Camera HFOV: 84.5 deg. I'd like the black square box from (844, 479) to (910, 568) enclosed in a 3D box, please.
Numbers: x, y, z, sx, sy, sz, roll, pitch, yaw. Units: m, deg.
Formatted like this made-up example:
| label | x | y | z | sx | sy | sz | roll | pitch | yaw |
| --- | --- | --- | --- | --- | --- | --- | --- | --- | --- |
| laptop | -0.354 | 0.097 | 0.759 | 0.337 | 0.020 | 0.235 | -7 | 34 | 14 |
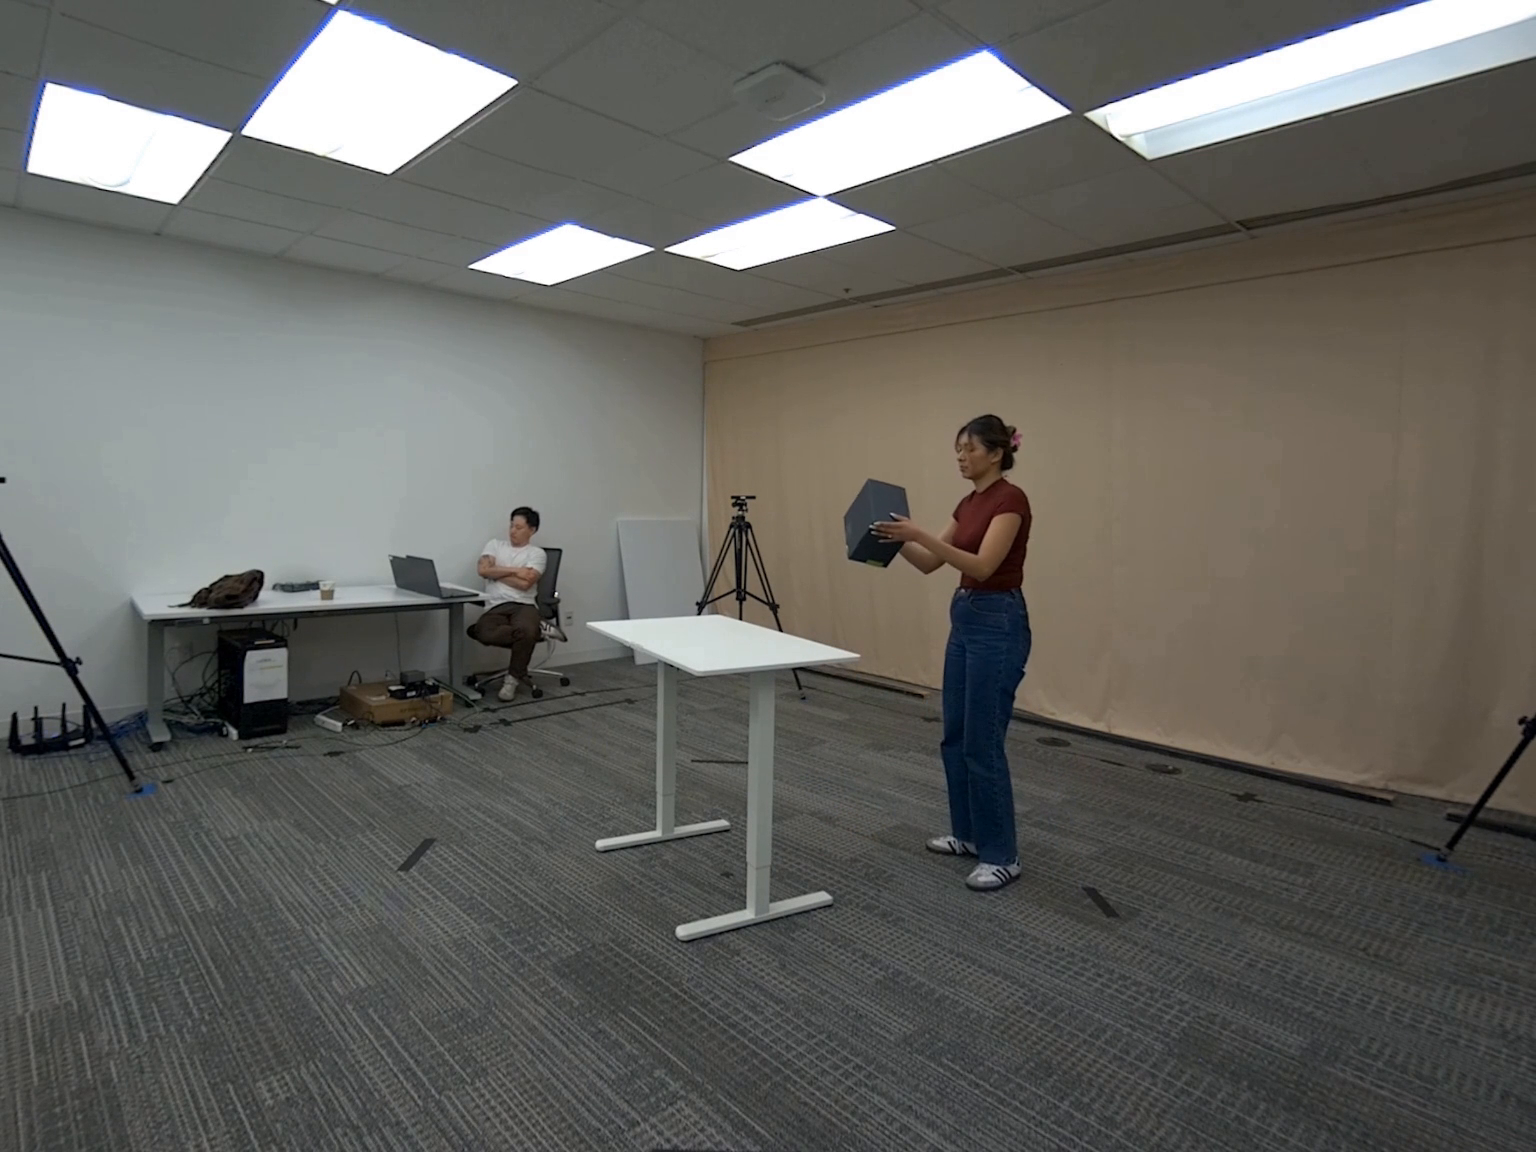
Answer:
| label | x | y | z | sx | sy | sz | roll | pitch | yaw |
| --- | --- | --- | --- | --- | --- | --- | --- | --- | --- |
| black square box | 0.405 | -0.186 | 3.118 | 0.154 | 0.233 | 0.215 | 14 | -42 | -15 |
